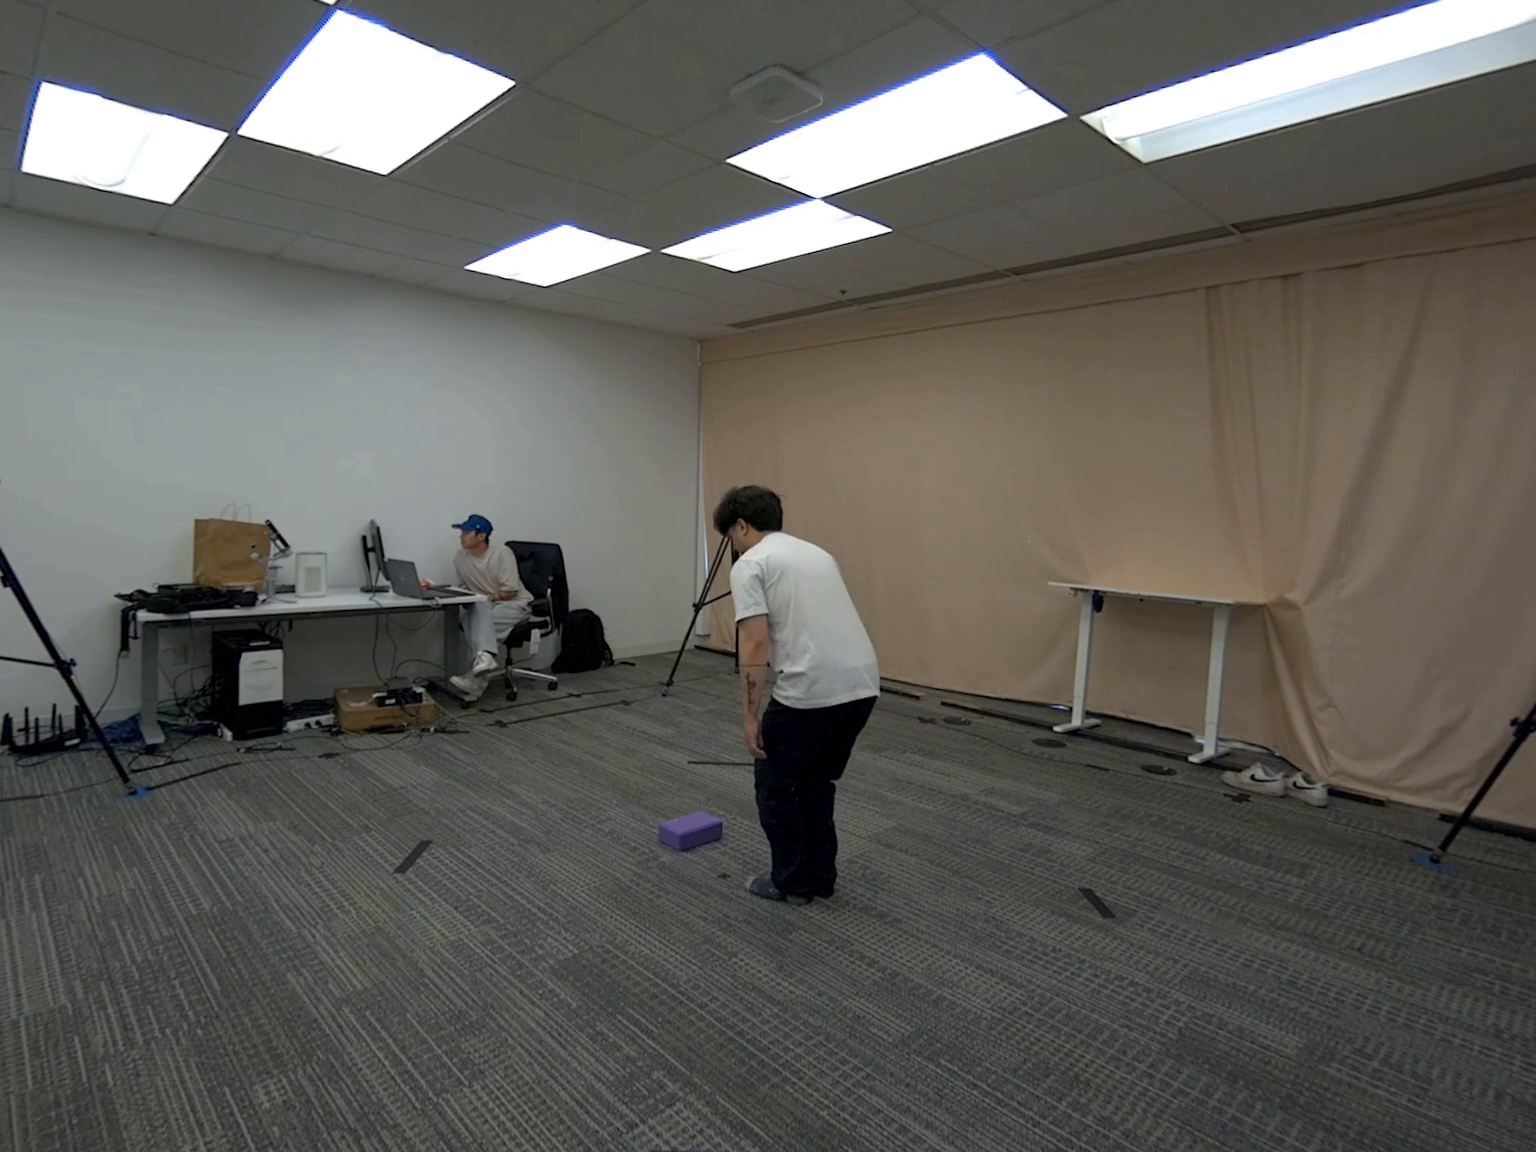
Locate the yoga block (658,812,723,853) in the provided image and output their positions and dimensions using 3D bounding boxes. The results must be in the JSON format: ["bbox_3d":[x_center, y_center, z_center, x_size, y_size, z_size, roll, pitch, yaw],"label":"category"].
[{"bbox_3d":[-0.320,1.037,3.426,0.224,0.076,0.153,-3,7,-44],"label":"yoga block"}]
